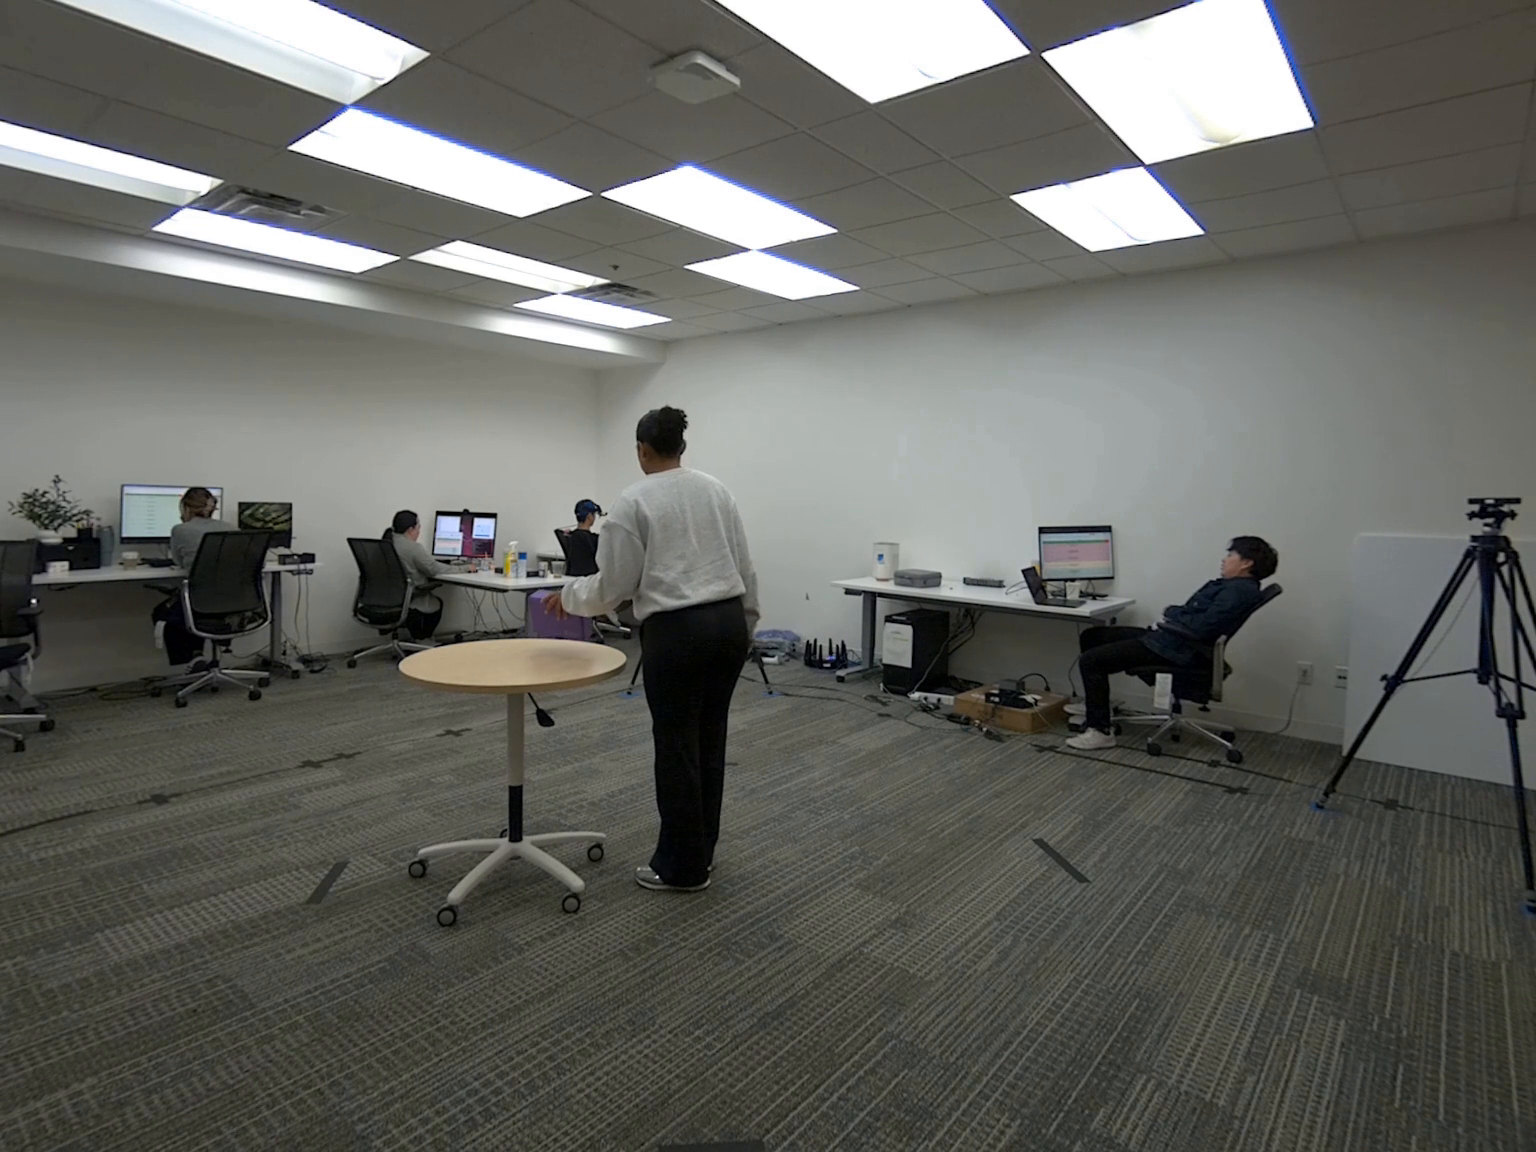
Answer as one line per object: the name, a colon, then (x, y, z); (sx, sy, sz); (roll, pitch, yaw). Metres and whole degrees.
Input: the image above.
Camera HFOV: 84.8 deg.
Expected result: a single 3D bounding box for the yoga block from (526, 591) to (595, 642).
yoga block: (-0.768, 0.142, 3.108); (0.233, 0.147, 0.076); (4, 15, 15)
